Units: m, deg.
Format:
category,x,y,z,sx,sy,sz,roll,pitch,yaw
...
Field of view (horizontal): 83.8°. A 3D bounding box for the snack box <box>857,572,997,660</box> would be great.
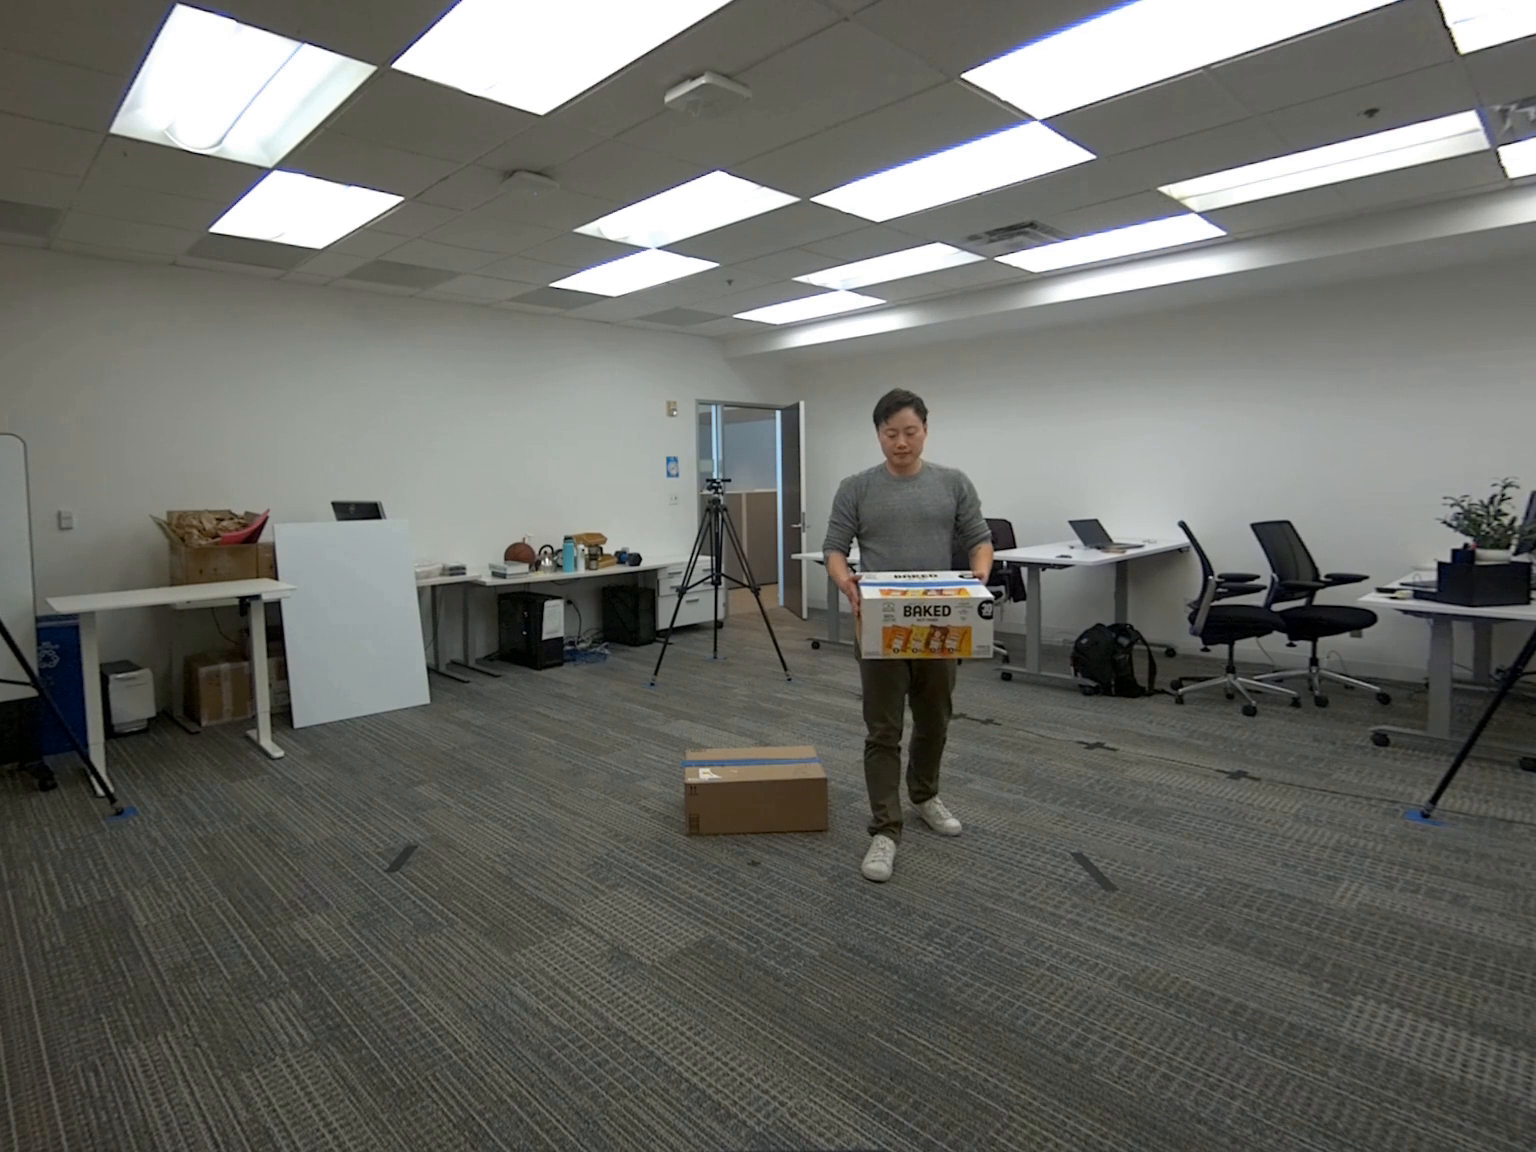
category,x,y,z,sx,sy,sz,roll,pitch,yaw
snack box,0.501,0.125,2.836,0.407,0.203,0.343,-1,13,4
